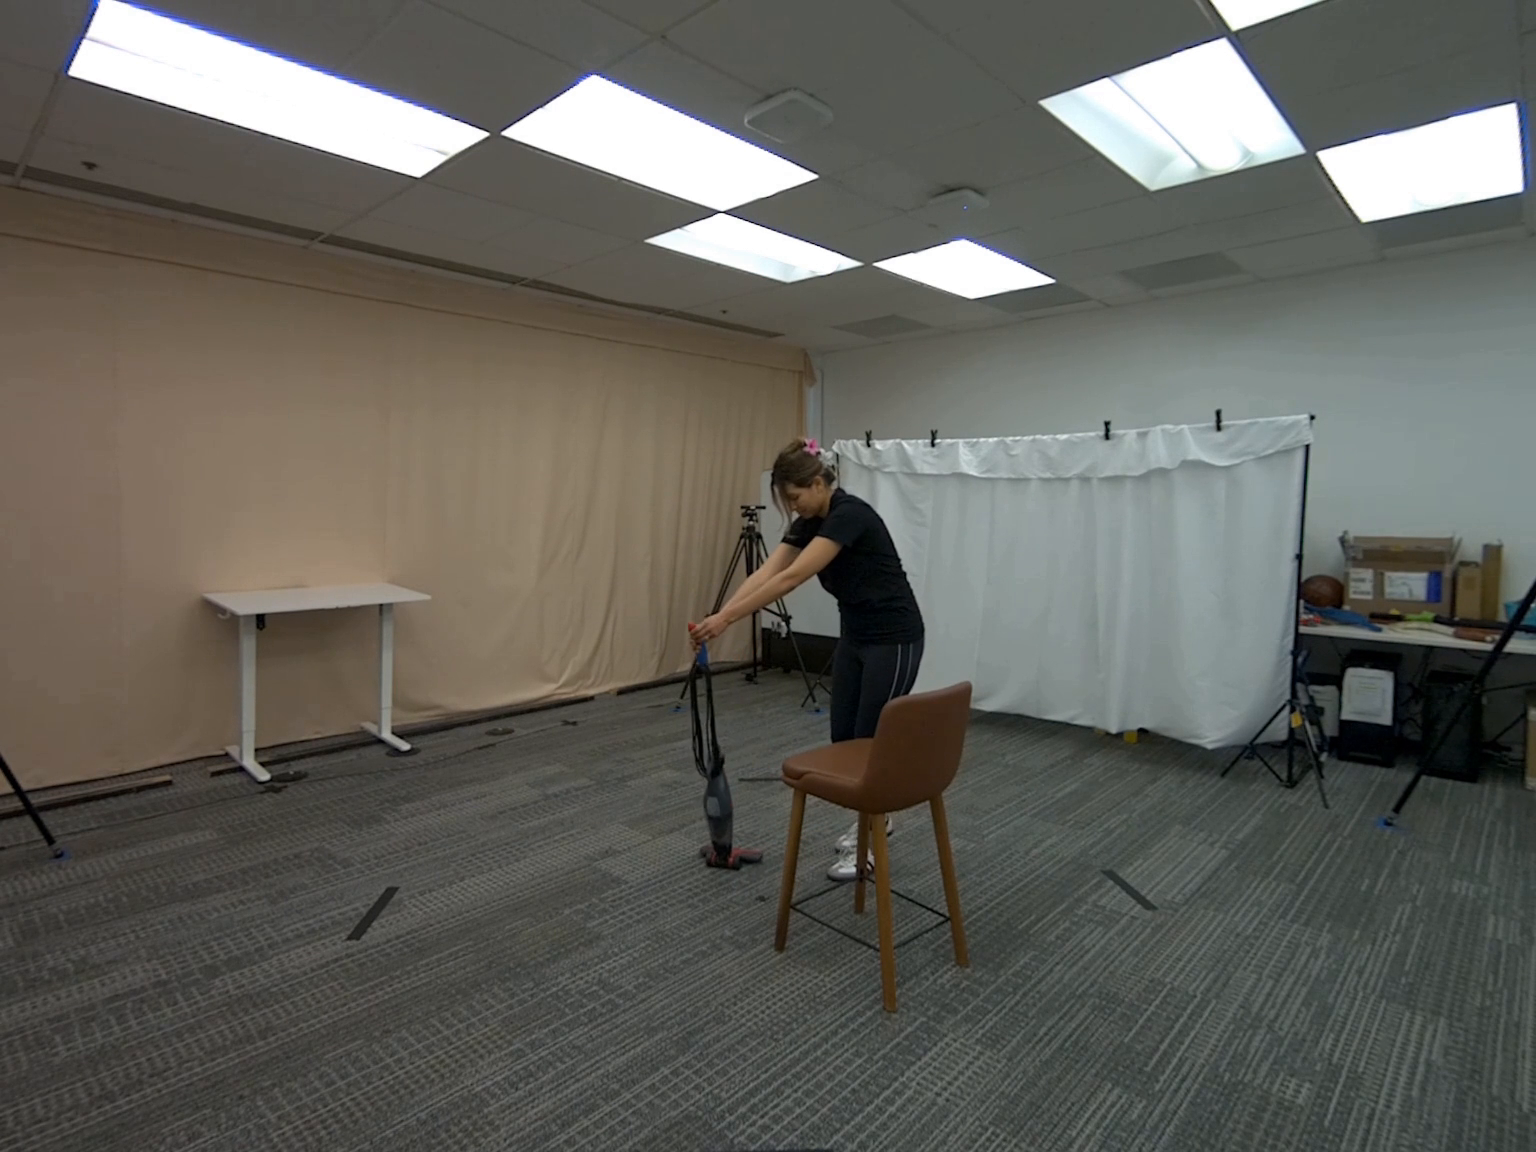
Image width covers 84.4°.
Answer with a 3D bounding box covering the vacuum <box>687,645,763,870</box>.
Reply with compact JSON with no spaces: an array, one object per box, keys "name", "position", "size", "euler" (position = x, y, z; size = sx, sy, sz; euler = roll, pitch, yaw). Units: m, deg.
[{"name":"vacuum","position":[-0.200,0.646,3.093],"size":[0.259,1.032,0.143],"euler":[4,25,24]}]
